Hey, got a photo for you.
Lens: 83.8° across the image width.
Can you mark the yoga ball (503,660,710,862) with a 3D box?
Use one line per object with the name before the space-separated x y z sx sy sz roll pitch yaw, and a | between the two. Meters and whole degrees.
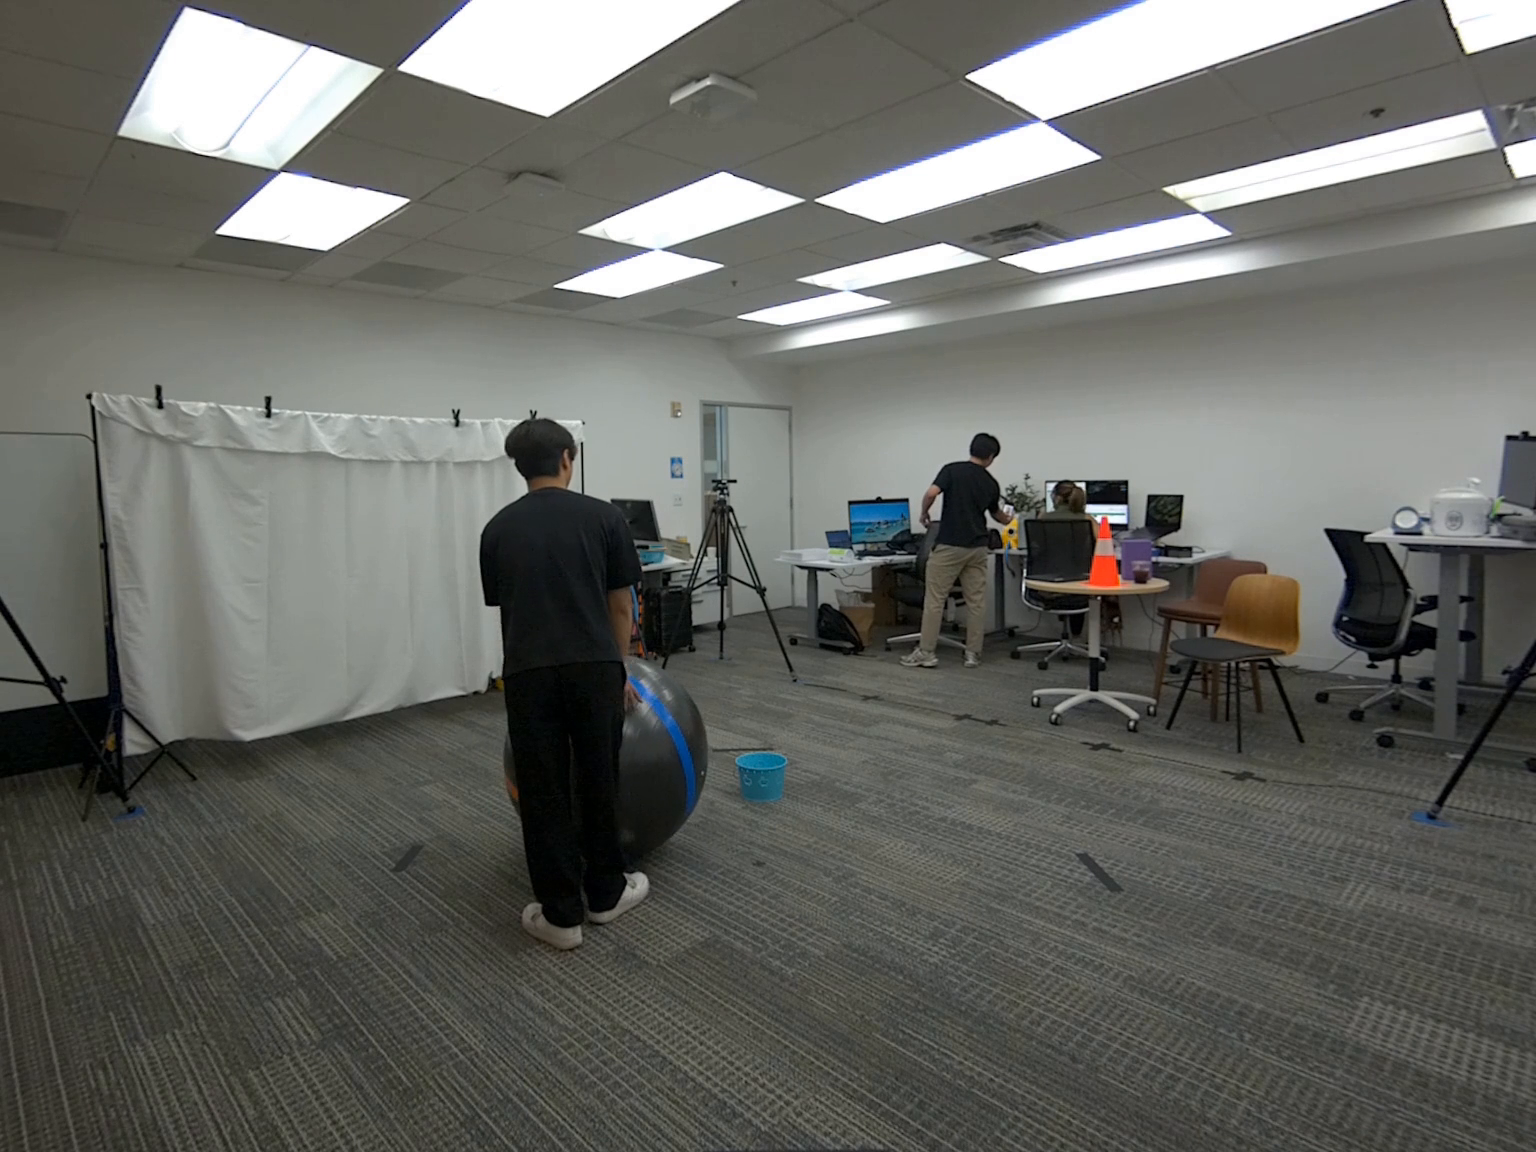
yoga ball | -0.605 0.680 3.207 0.757 0.755 0.762 -1 5 -2
